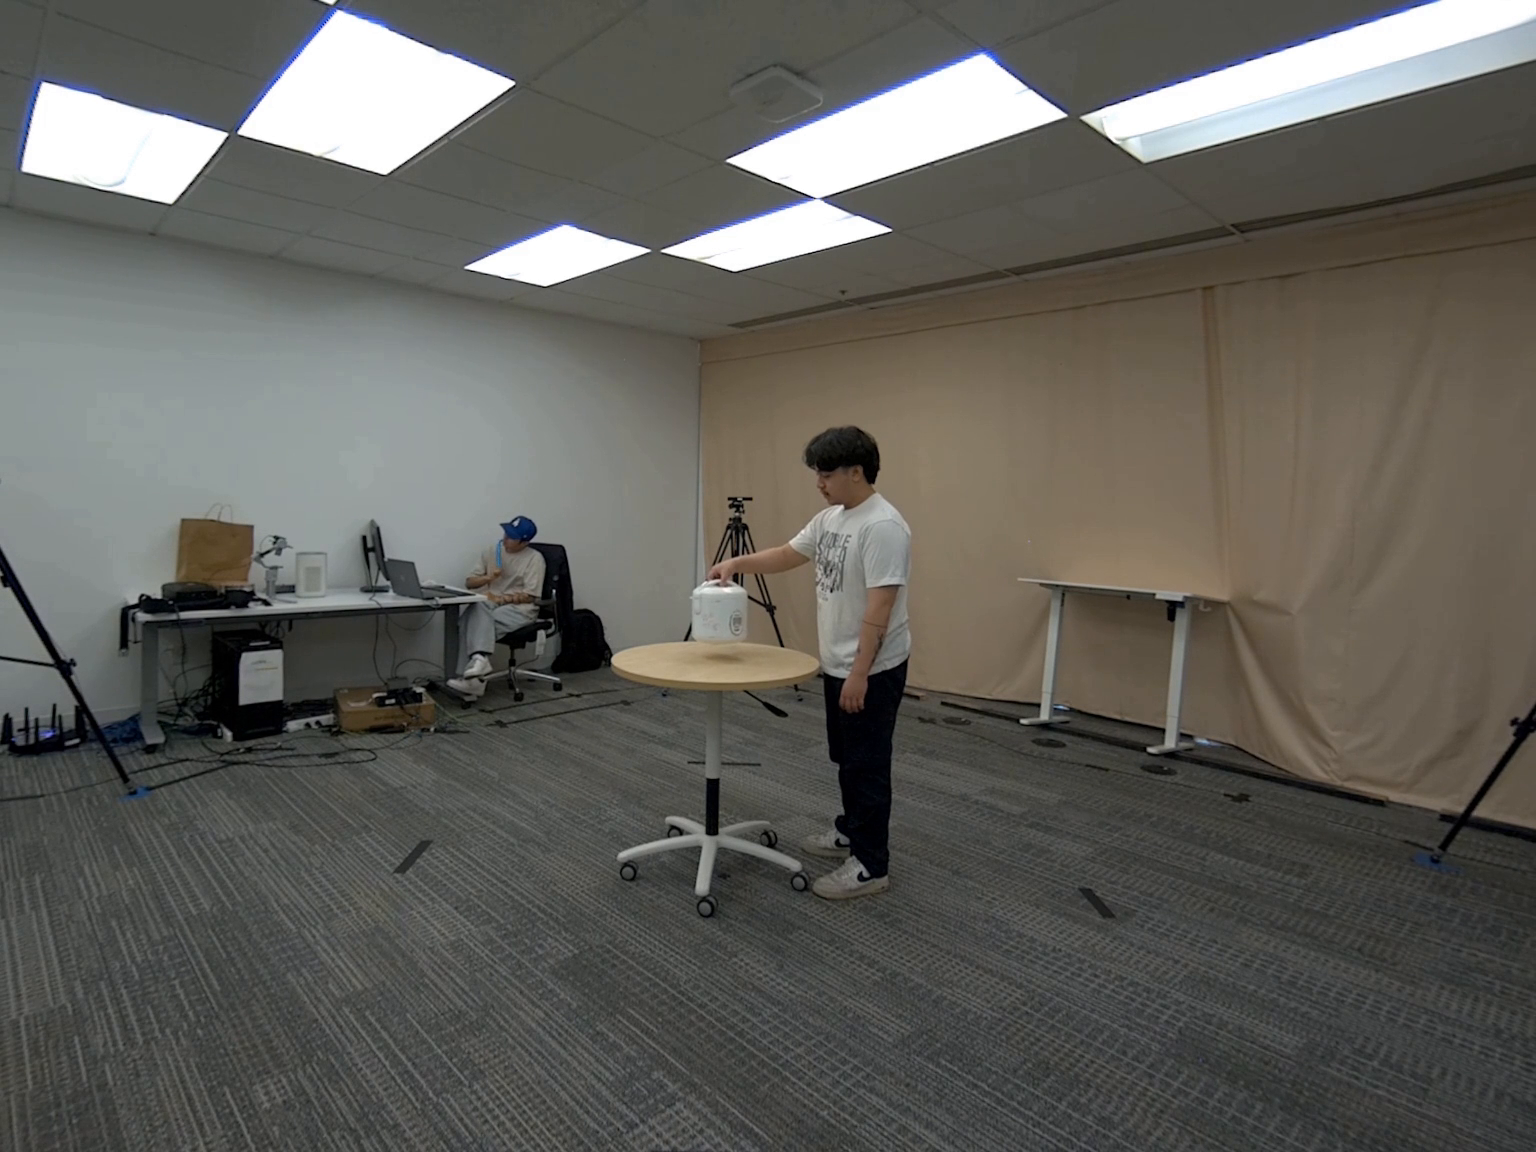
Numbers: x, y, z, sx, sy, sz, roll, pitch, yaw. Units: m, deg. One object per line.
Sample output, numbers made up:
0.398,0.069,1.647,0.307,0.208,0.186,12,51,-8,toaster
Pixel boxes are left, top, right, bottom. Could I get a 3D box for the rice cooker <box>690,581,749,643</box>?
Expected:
-0.178,0.128,3.129,0.216,0.232,0.222,-2,2,-38,rice cooker
